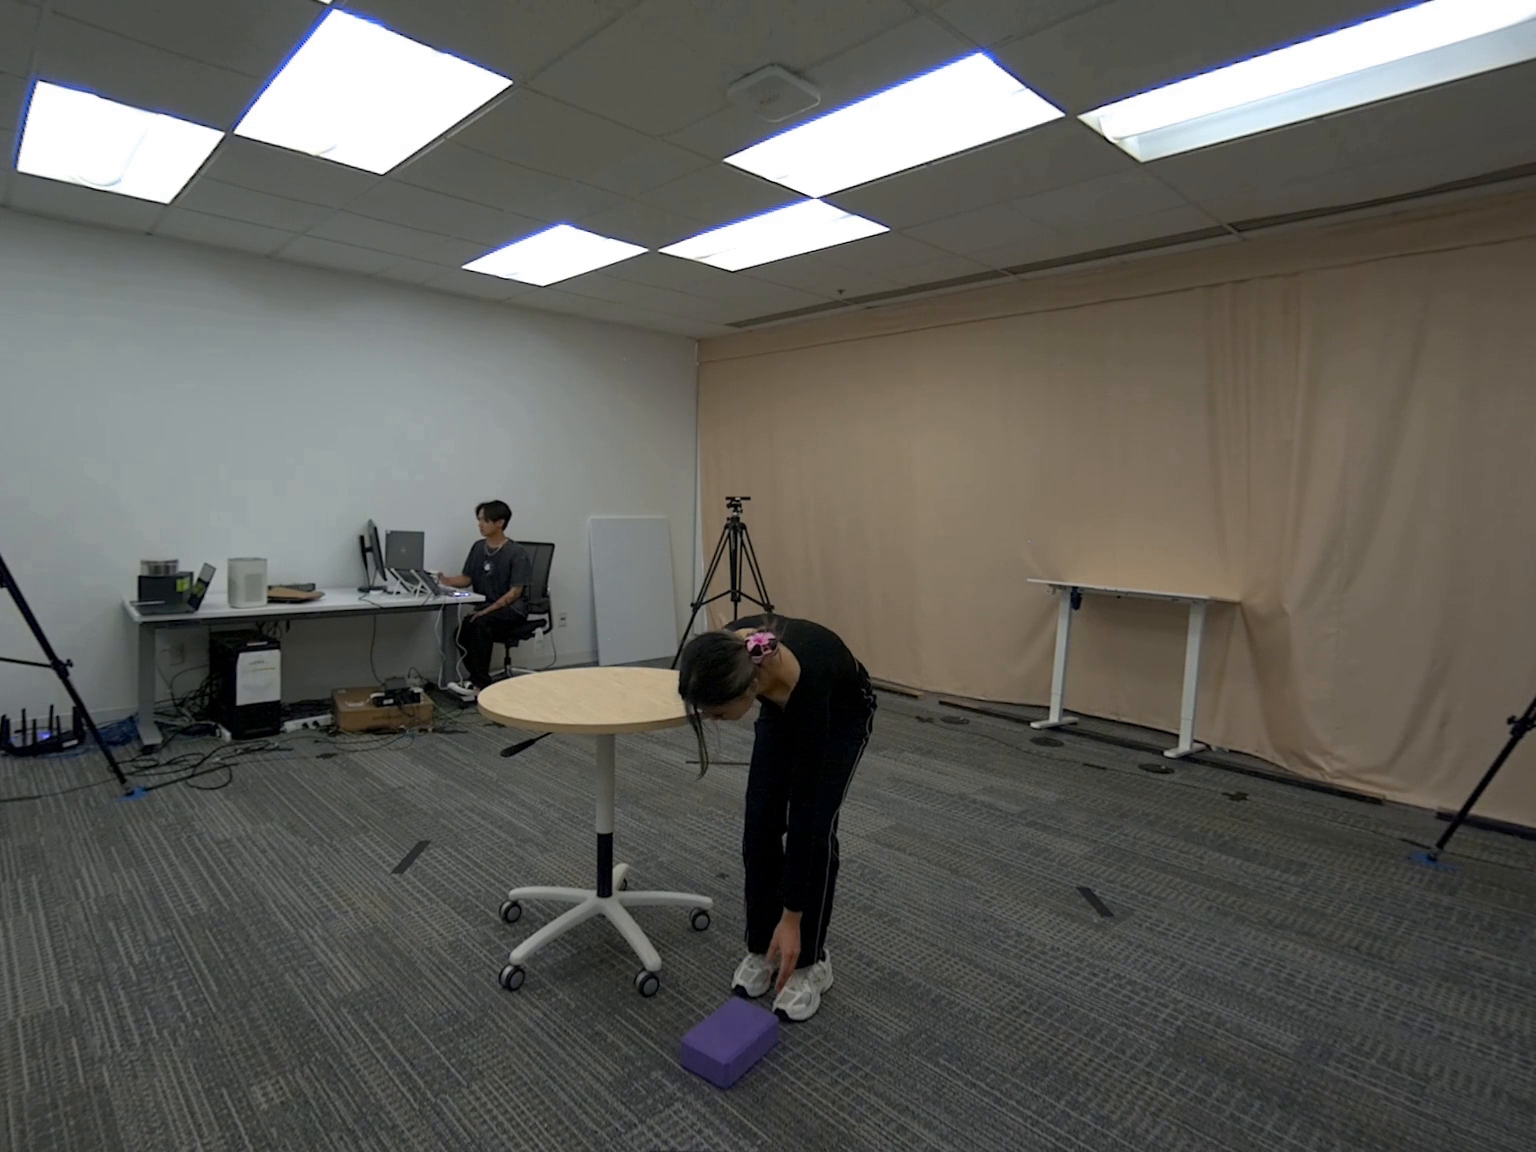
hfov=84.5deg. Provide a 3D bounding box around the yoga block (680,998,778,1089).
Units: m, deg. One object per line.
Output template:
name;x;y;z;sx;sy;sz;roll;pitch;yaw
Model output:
yoga block;-0.105;1.165;2.096;0.153;0.076;0.224;7;8;35
